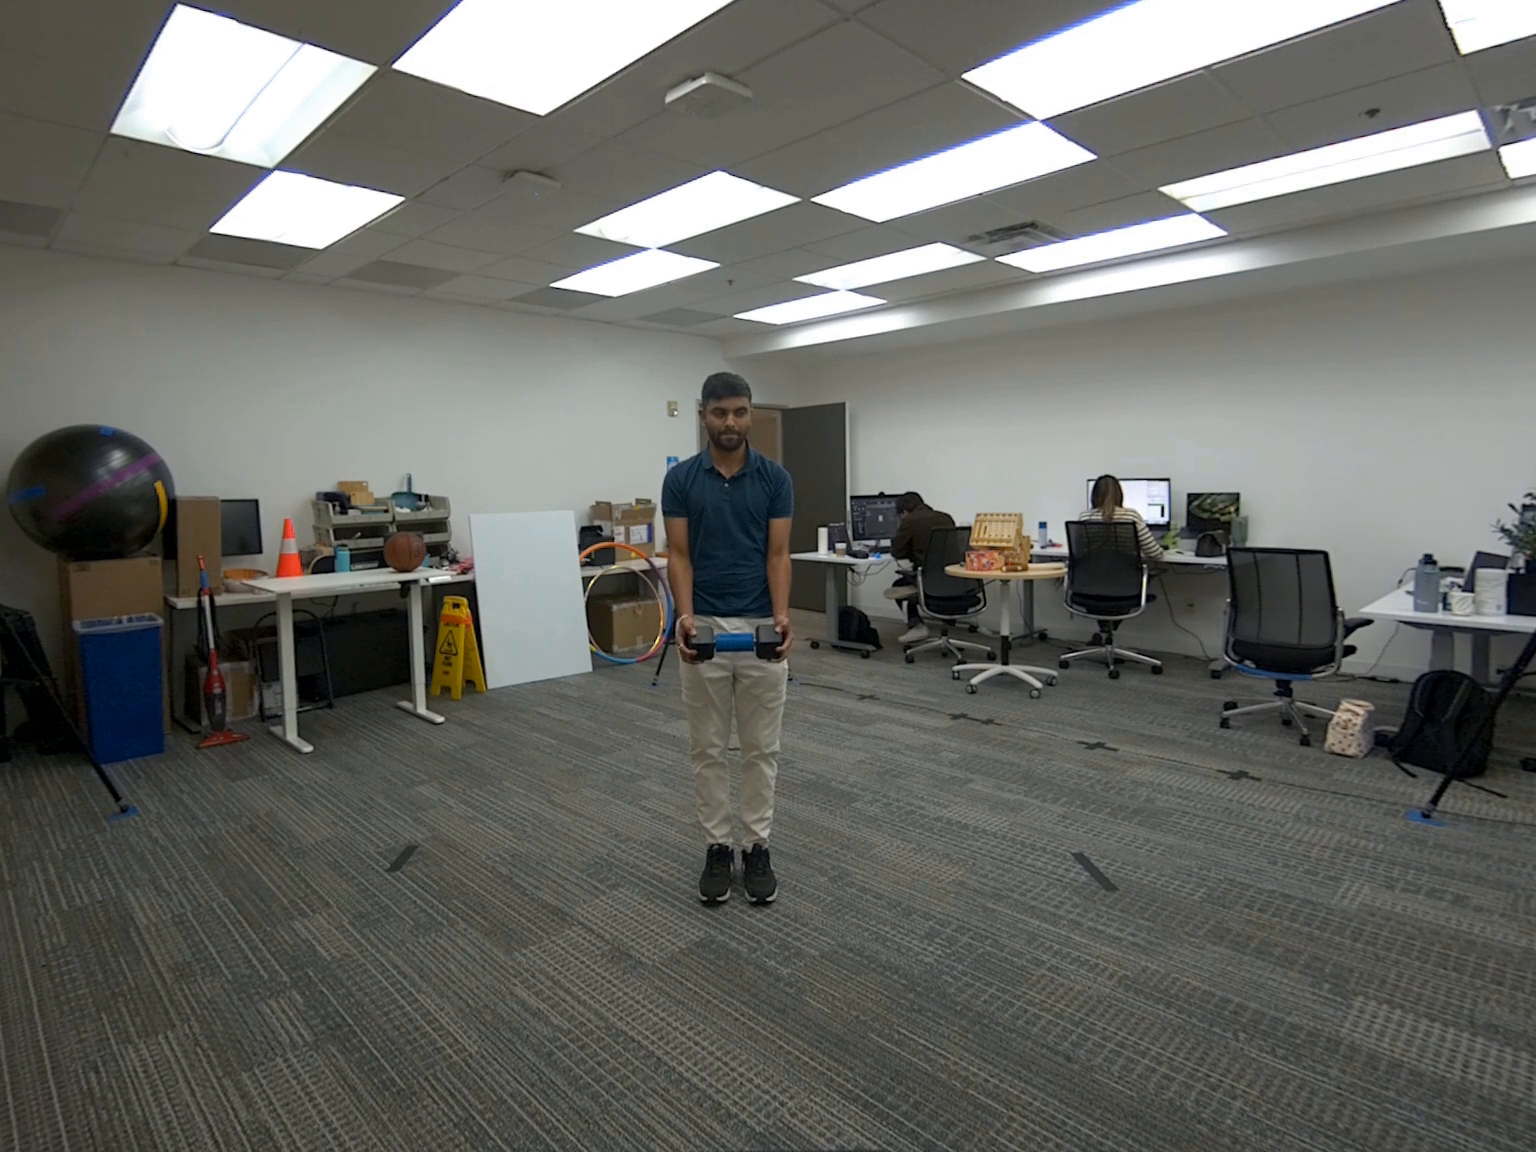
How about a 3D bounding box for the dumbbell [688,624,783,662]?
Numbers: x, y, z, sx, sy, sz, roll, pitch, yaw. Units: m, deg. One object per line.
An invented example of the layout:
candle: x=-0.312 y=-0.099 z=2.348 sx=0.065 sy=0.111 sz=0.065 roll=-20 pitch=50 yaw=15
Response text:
dumbbell: x=-0.115 y=0.196 z=2.712 sx=0.296 sy=0.120 sz=0.111 roll=1 pitch=32 yaw=7
